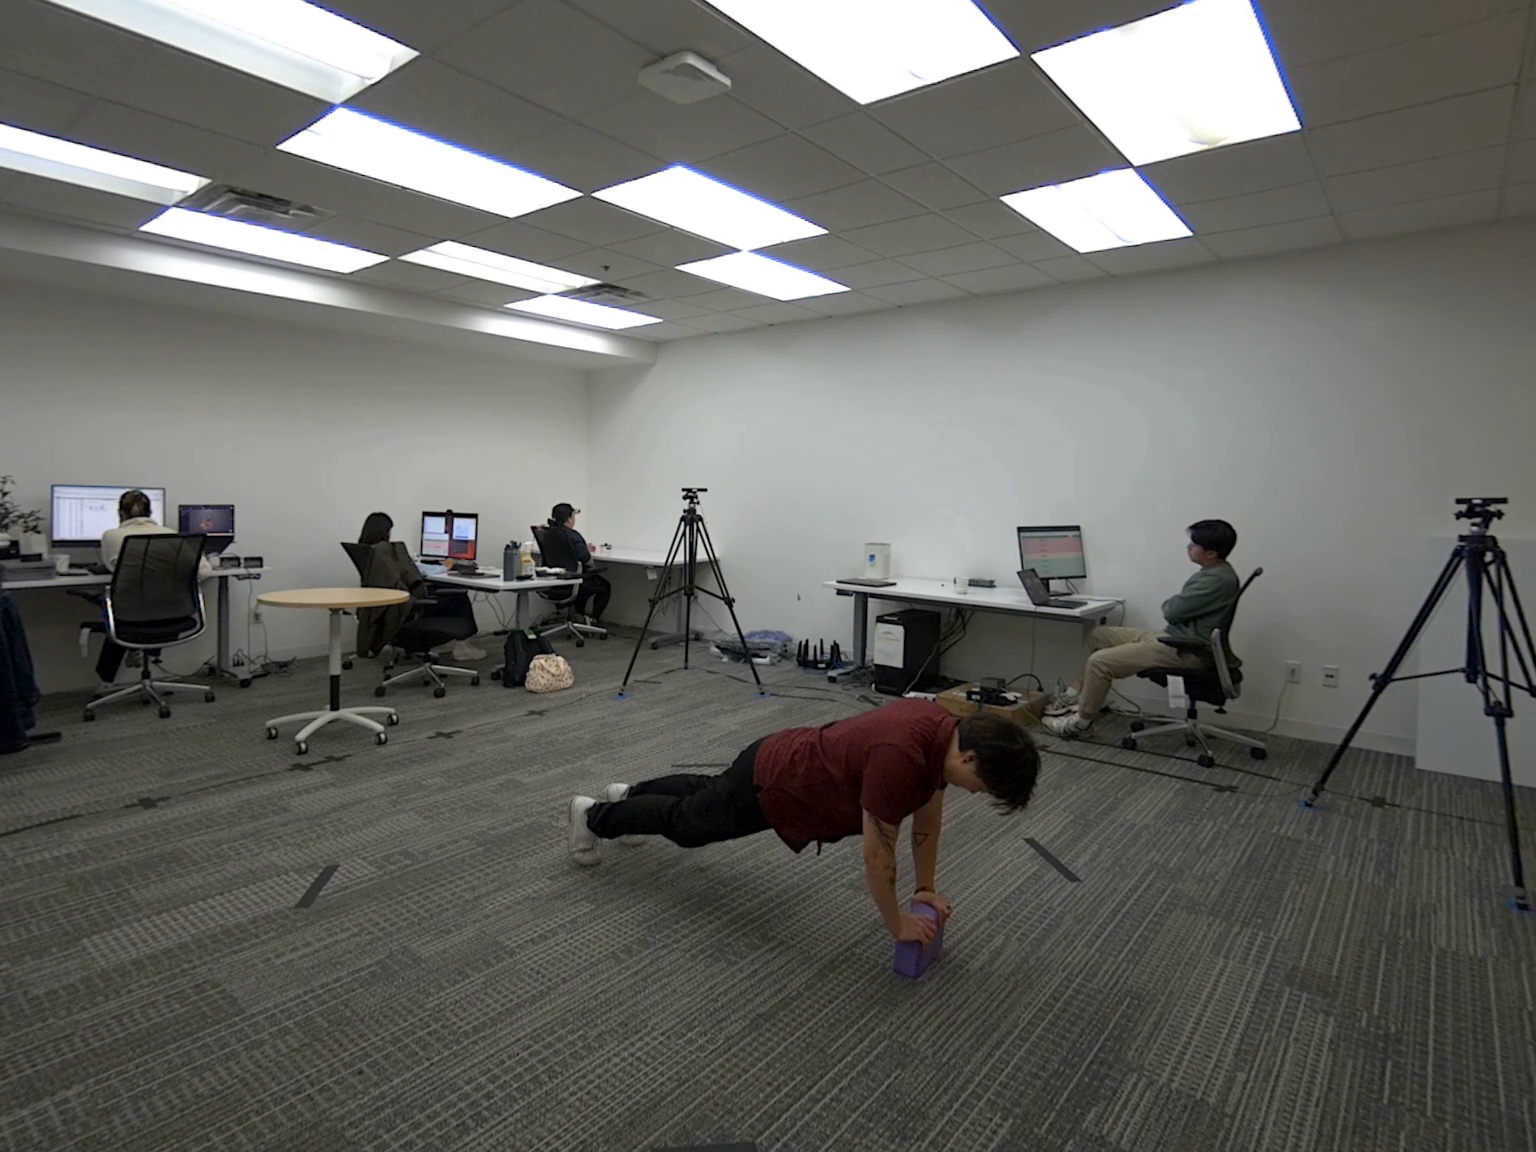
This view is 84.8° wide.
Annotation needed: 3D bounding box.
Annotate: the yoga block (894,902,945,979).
[{"bbox_3d":[0.454,1.070,2.543,0.079,0.148,0.223,8,7,31],"label":"yoga block"}]
